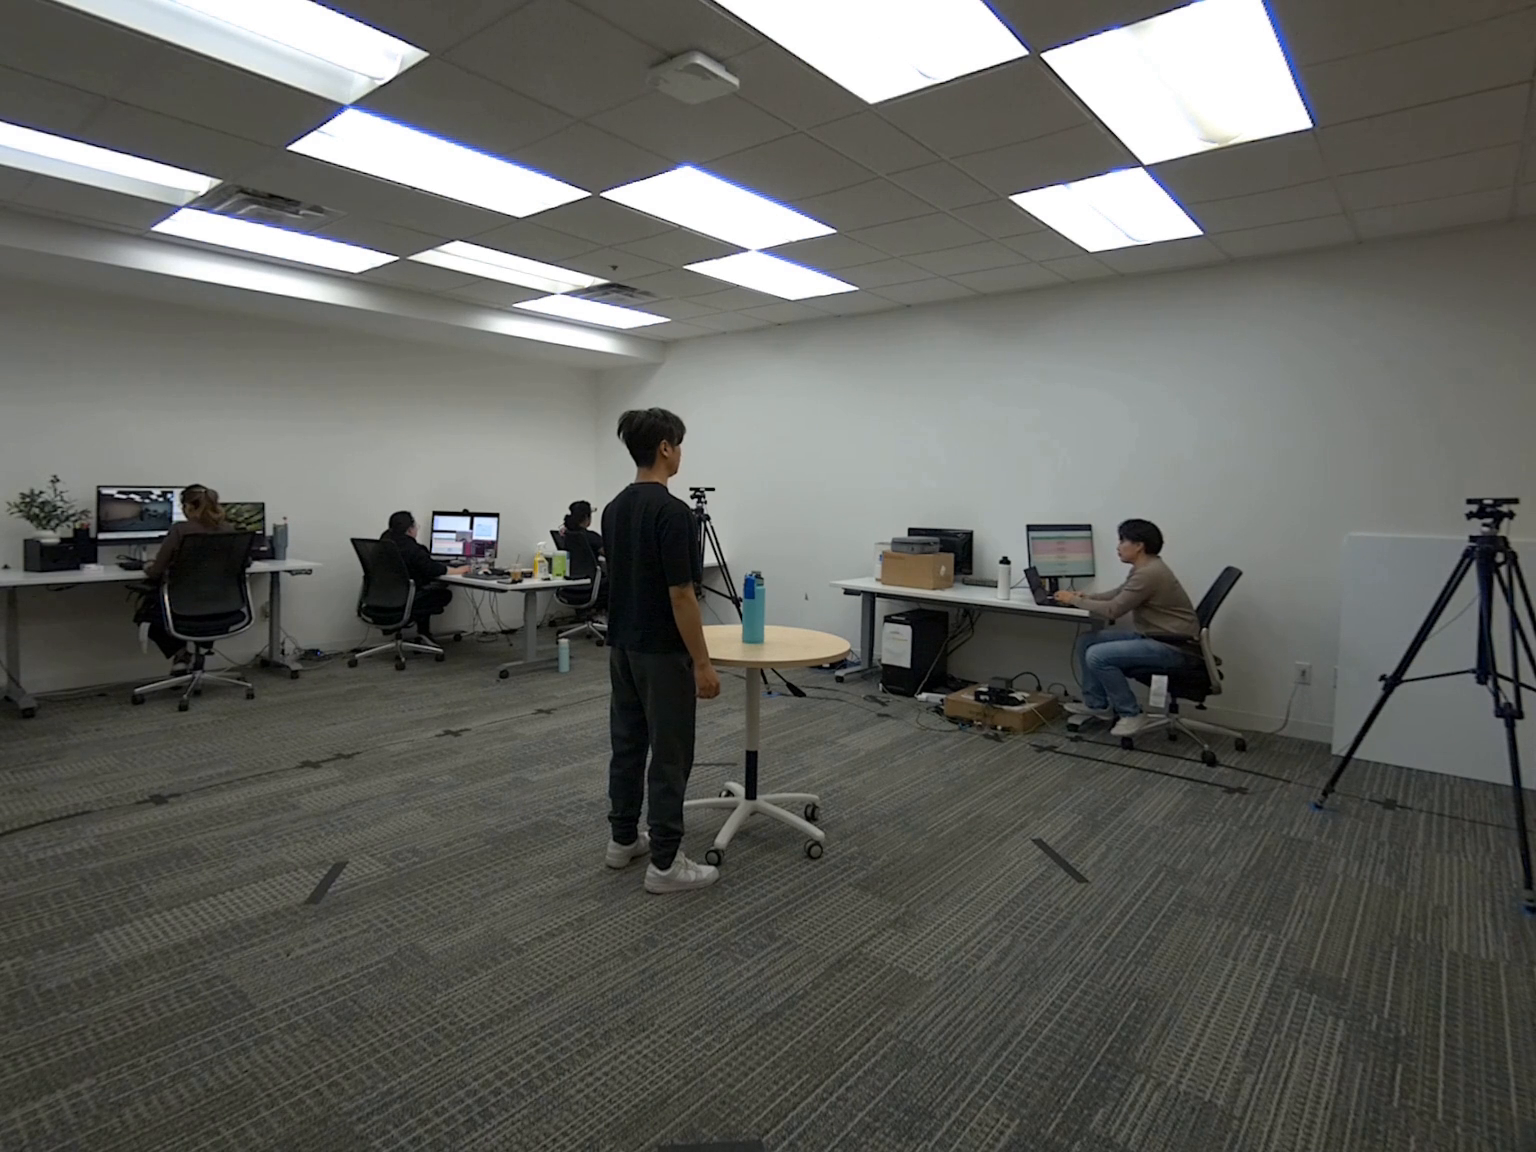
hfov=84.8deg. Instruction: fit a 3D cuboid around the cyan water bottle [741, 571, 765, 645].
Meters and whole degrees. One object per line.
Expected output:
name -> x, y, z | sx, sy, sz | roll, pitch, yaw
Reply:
cyan water bottle -> -0.064, 0.120, 3.392 | 0.092, 0.282, 0.093 | 1, 6, -2
